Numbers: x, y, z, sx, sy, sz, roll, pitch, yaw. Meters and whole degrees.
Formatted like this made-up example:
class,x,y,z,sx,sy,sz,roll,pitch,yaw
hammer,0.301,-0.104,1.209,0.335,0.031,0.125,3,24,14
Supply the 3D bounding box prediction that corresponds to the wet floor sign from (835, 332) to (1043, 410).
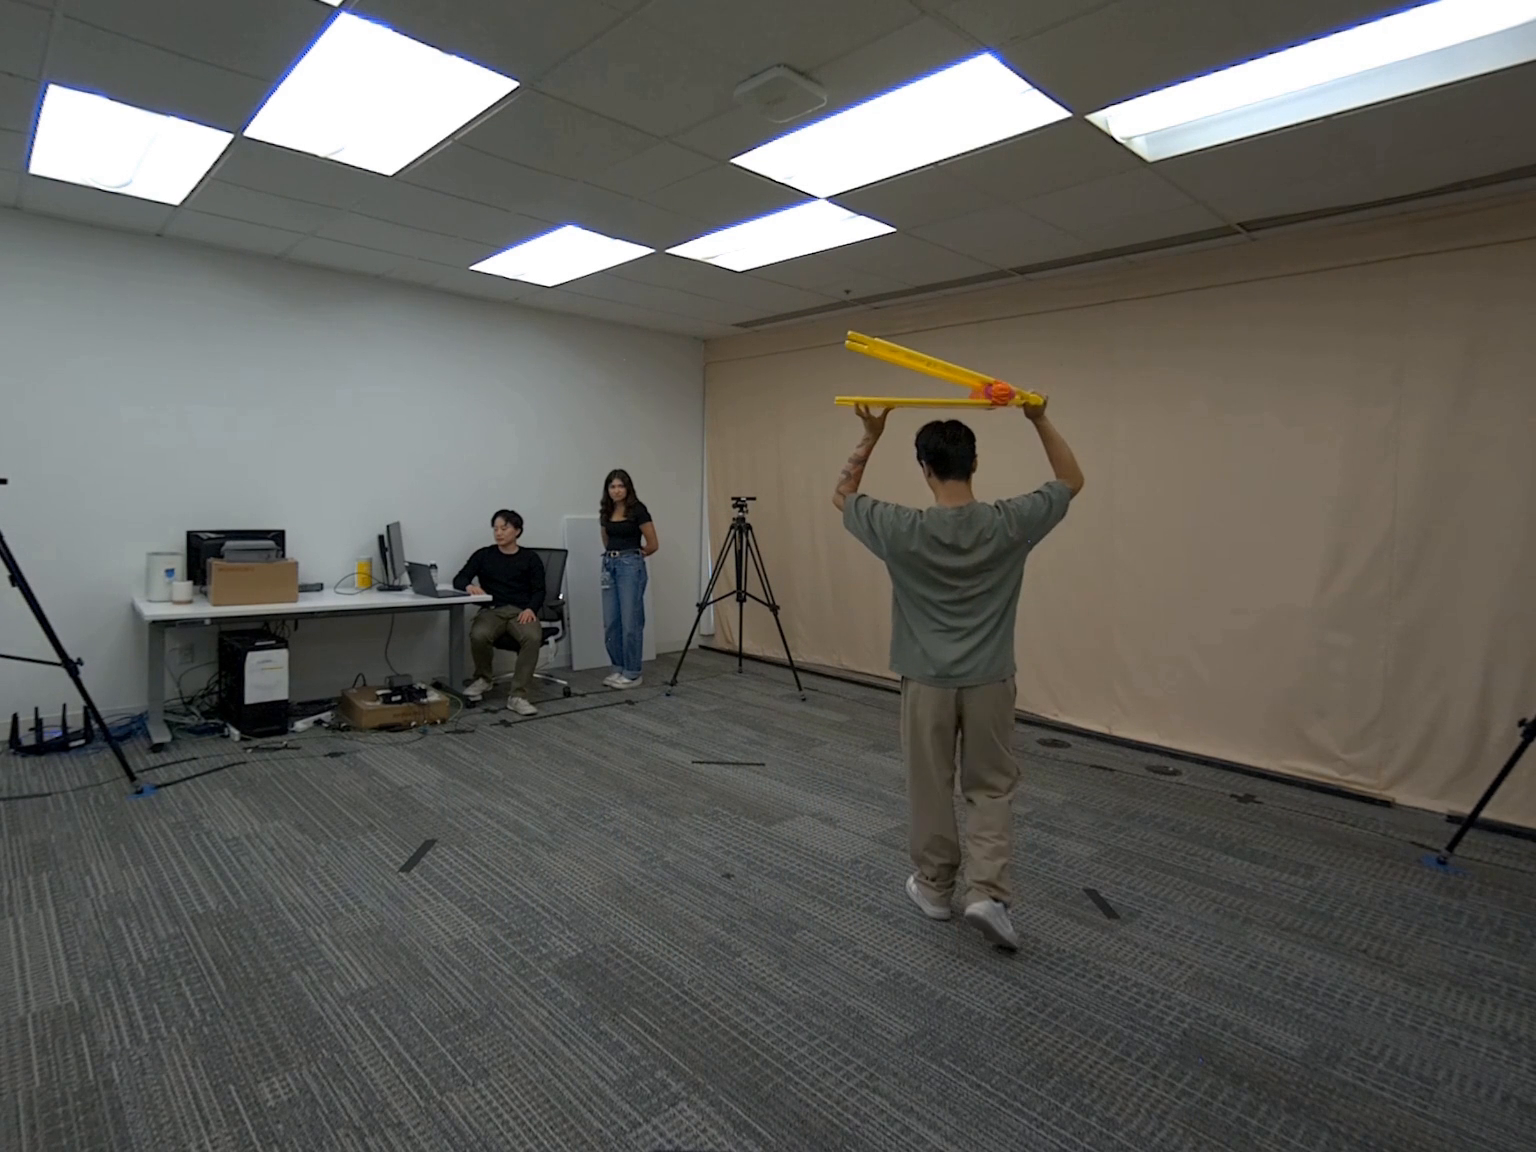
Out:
class,x,y,z,sx,sy,sz,roll,pitch,yaw
wet floor sign,0.558,-0.625,2.781,0.649,0.288,0.282,9,6,5
